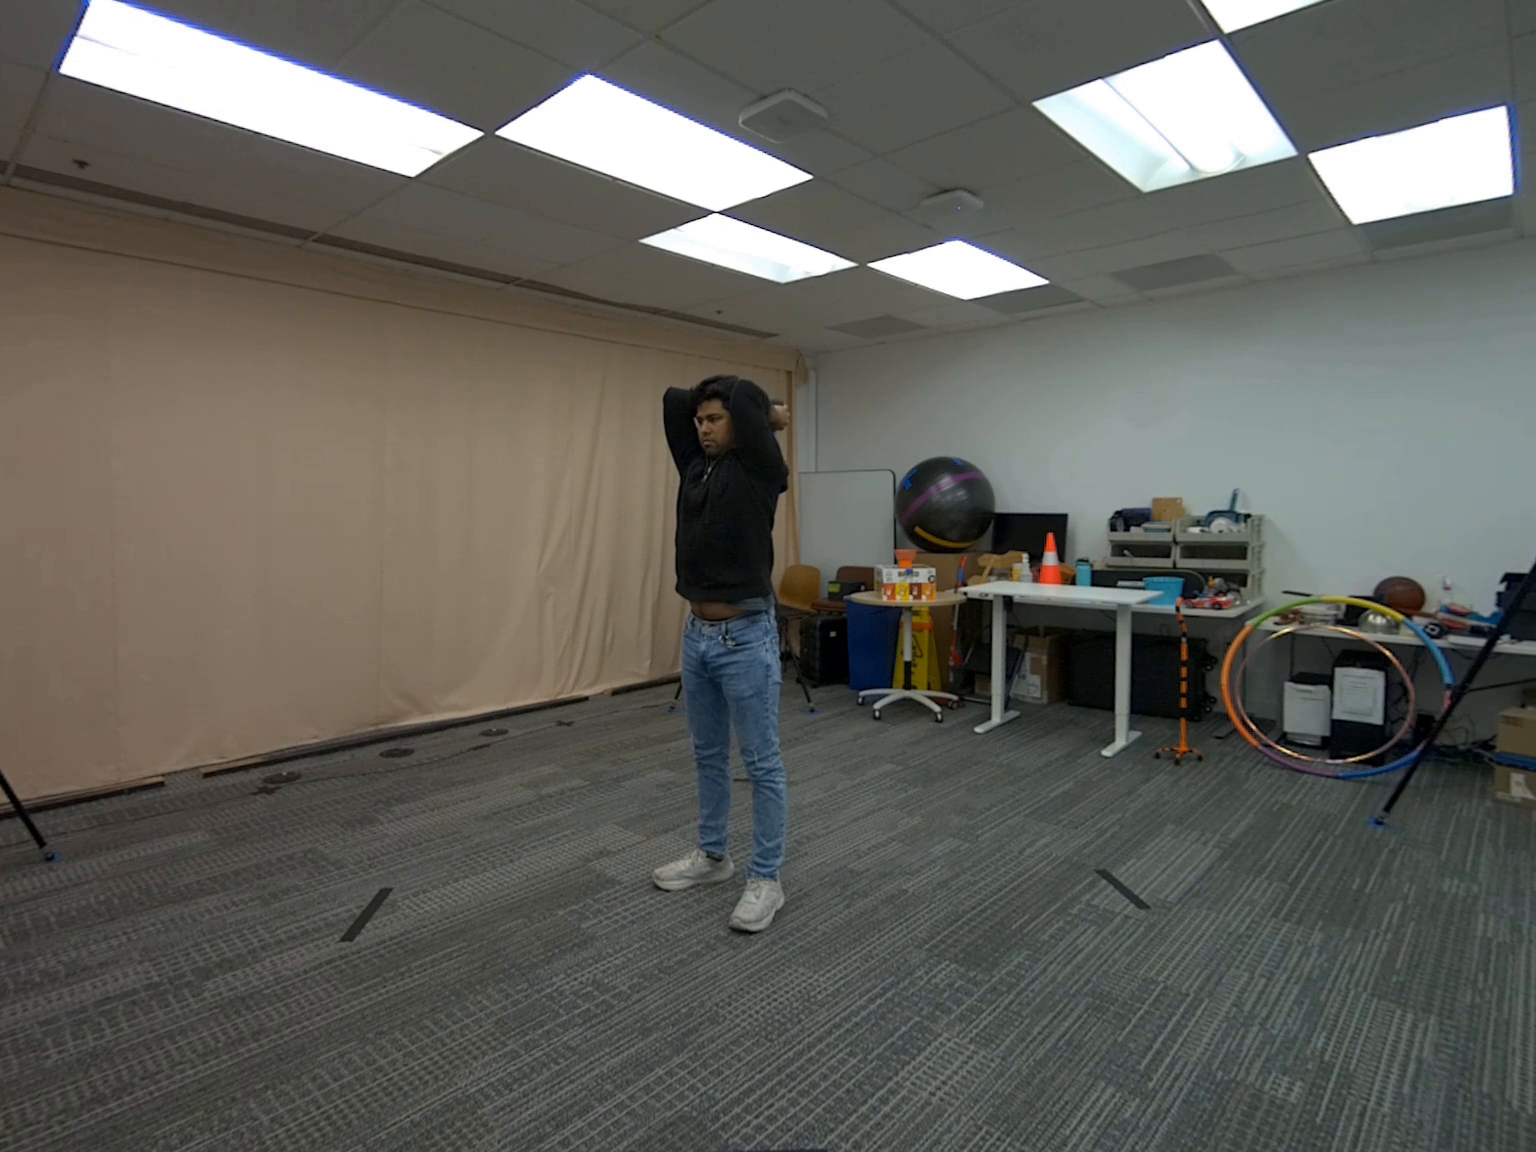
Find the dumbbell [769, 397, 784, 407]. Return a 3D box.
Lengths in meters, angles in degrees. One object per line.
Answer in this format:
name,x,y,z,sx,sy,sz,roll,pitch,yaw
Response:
dumbbell,-0.002,-0.498,3.034,0.106,0.292,0.127,-7,8,-37
